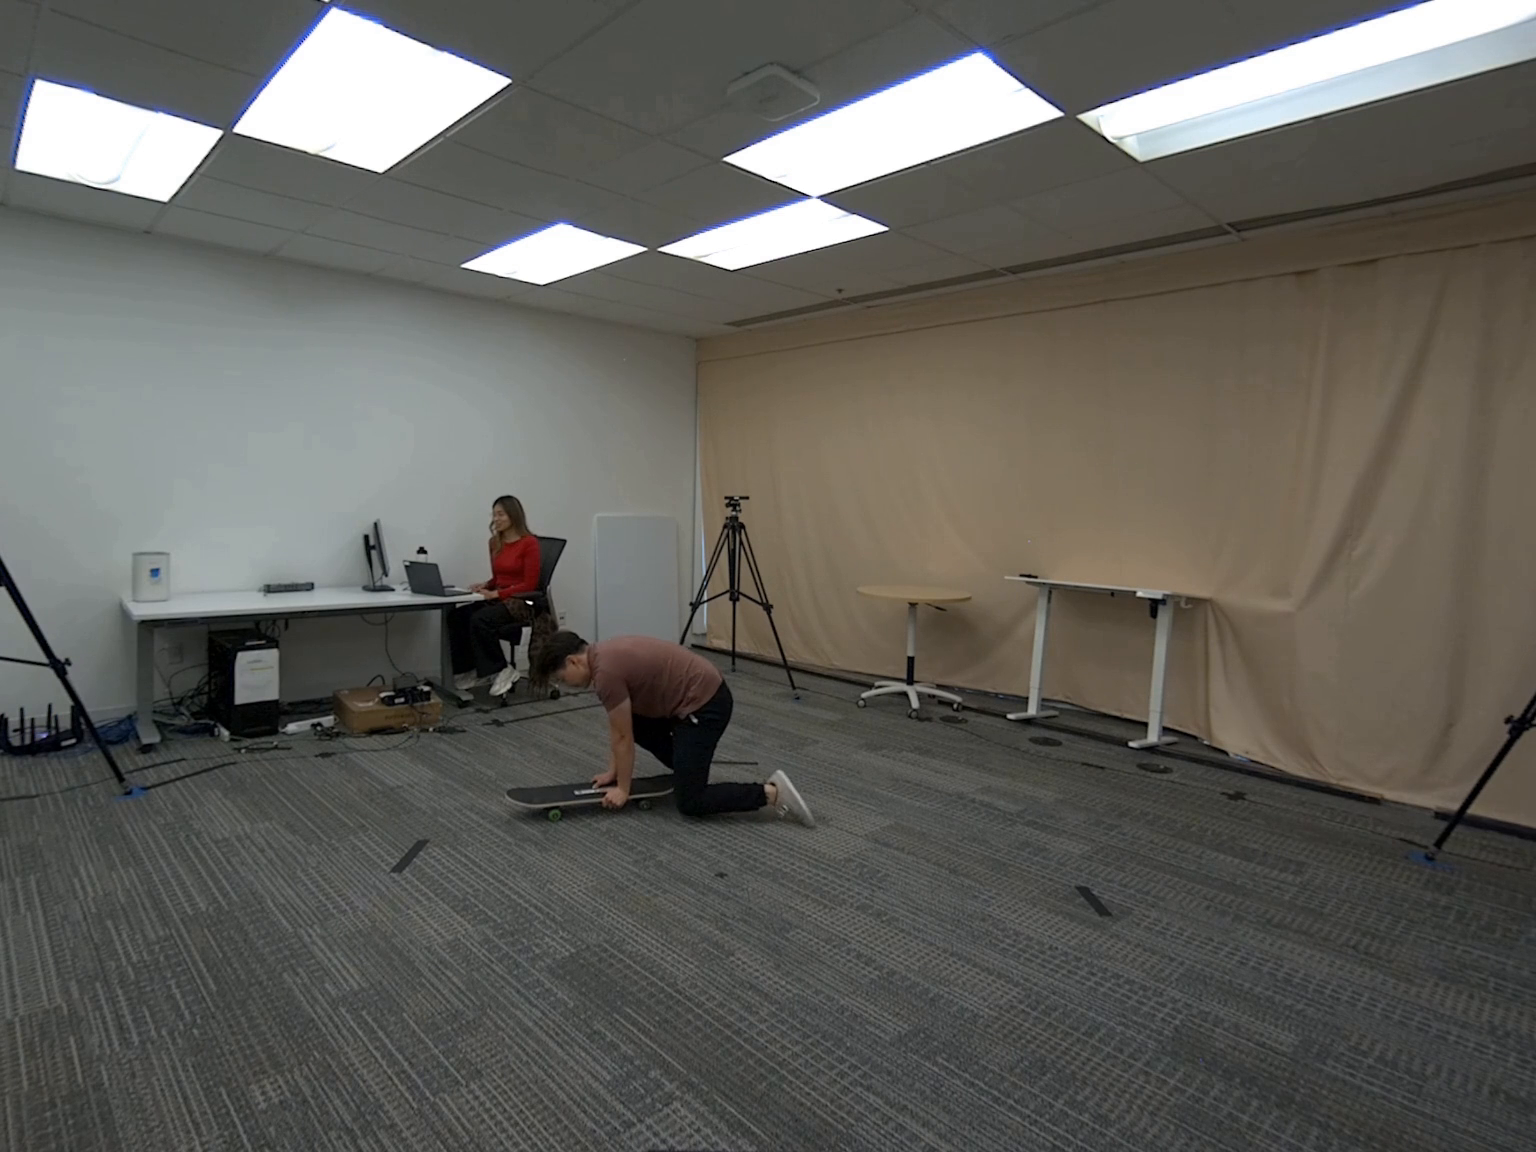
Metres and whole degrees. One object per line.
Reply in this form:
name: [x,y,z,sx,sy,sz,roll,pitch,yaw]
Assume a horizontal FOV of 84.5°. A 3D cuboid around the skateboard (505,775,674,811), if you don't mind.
skateboard: [-0.770,0.981,3.731,0.773,0.110,0.197,0,8,-21]
